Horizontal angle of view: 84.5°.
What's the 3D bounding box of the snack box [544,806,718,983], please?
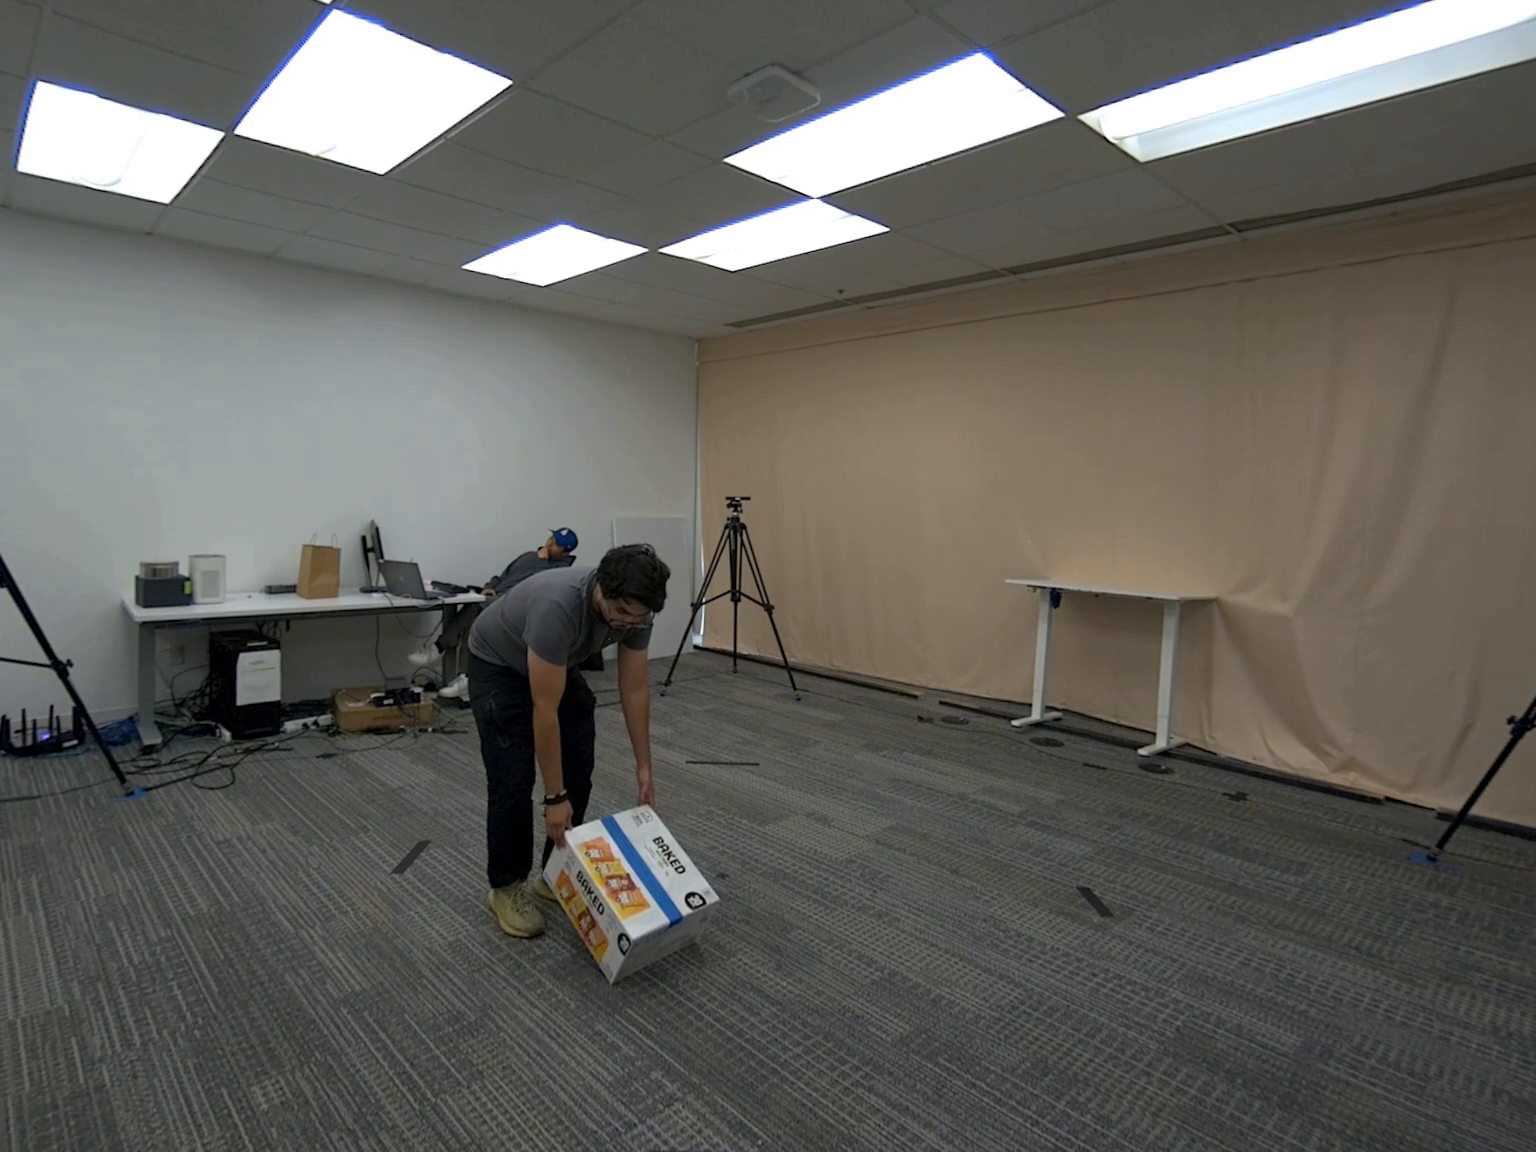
[{"bbox_3d":[-0.432,0.966,2.584,0.333,0.204,0.417,-5,38,-46],"label":"snack box"}]
